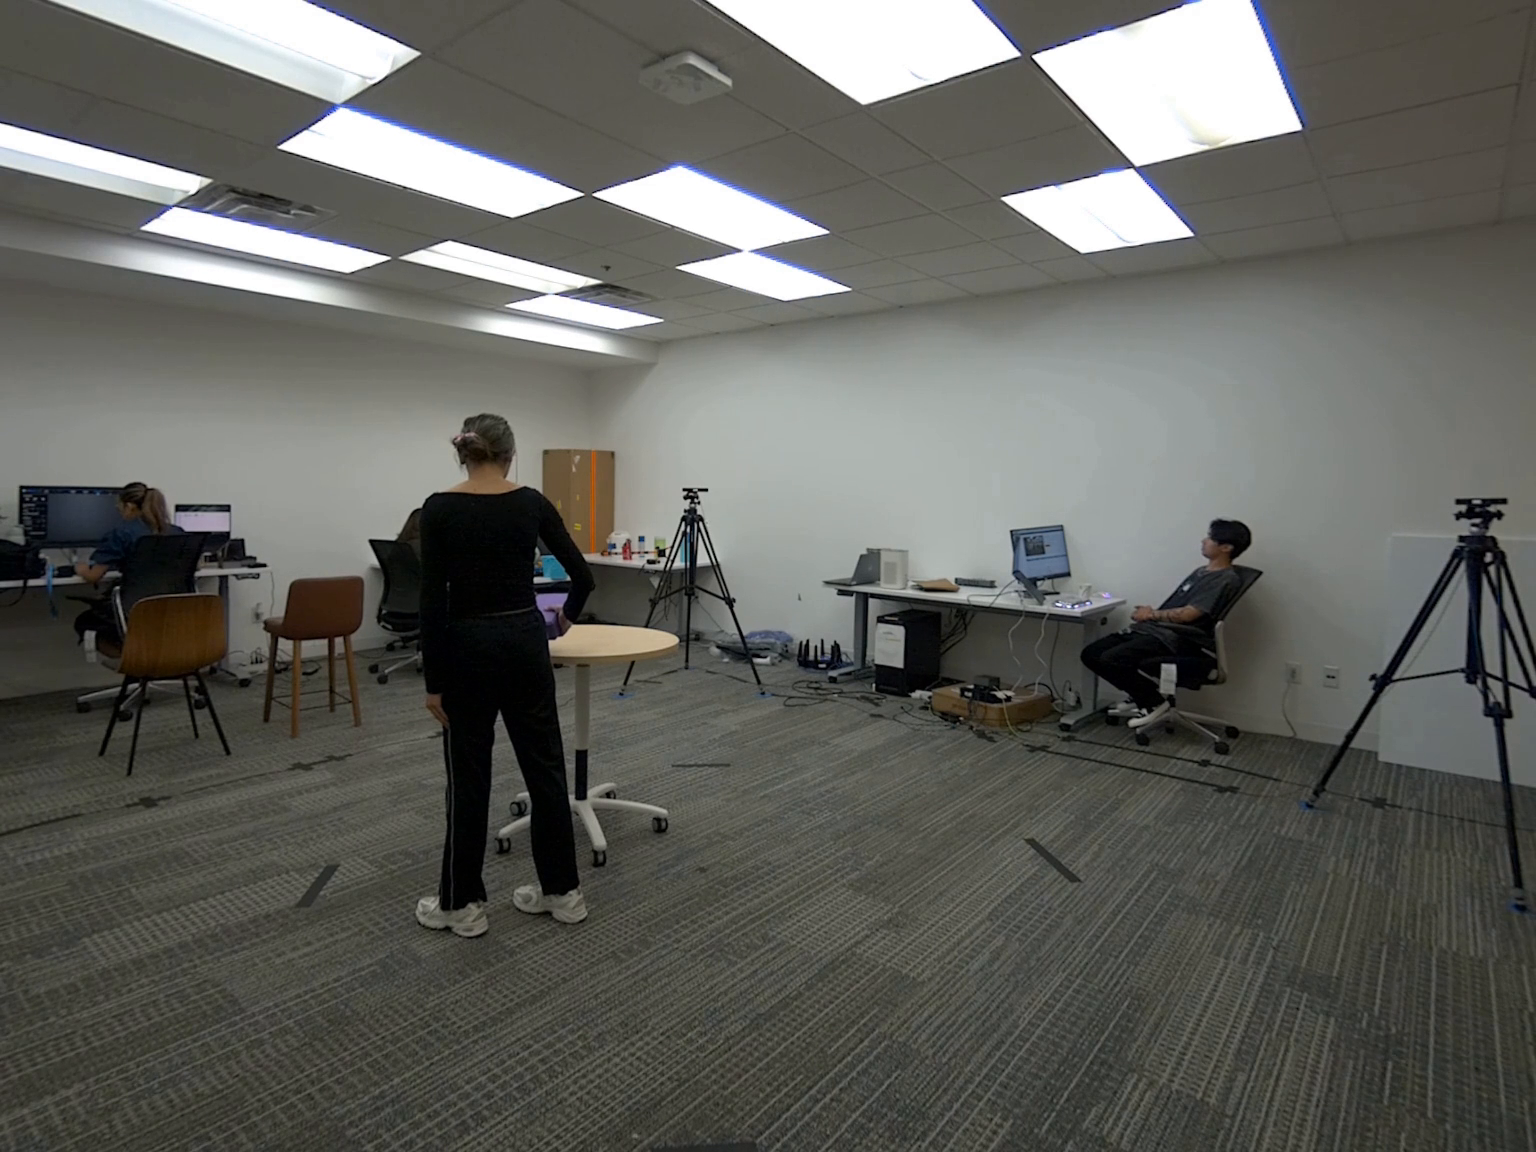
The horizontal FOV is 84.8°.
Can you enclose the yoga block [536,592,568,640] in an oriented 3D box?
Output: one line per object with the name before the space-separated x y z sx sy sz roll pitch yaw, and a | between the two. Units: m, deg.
yoga block | -0.799 0.136 3.071 0.149 0.075 0.233 -1 19 -3
